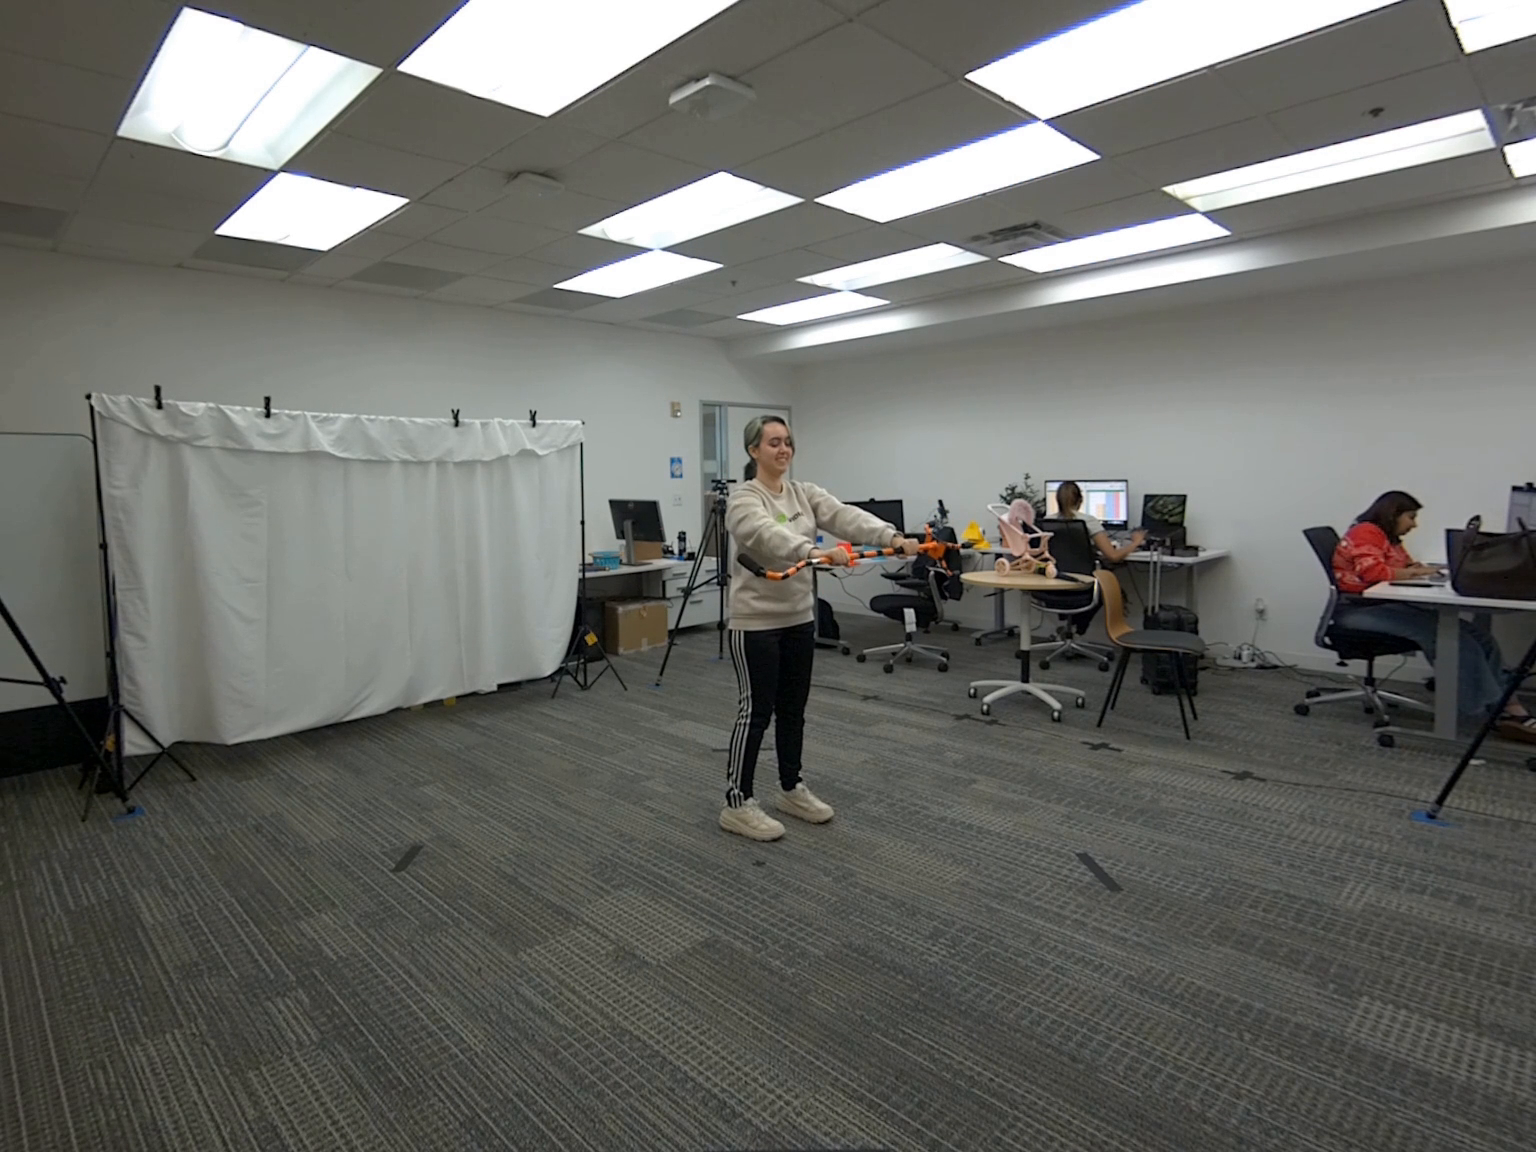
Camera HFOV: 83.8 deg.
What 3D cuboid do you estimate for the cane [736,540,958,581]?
[{"bbox_3d":[0.328,-0.064,2.952,0.887,0.149,0.215,-9,31,-35],"label":"cane"}]
